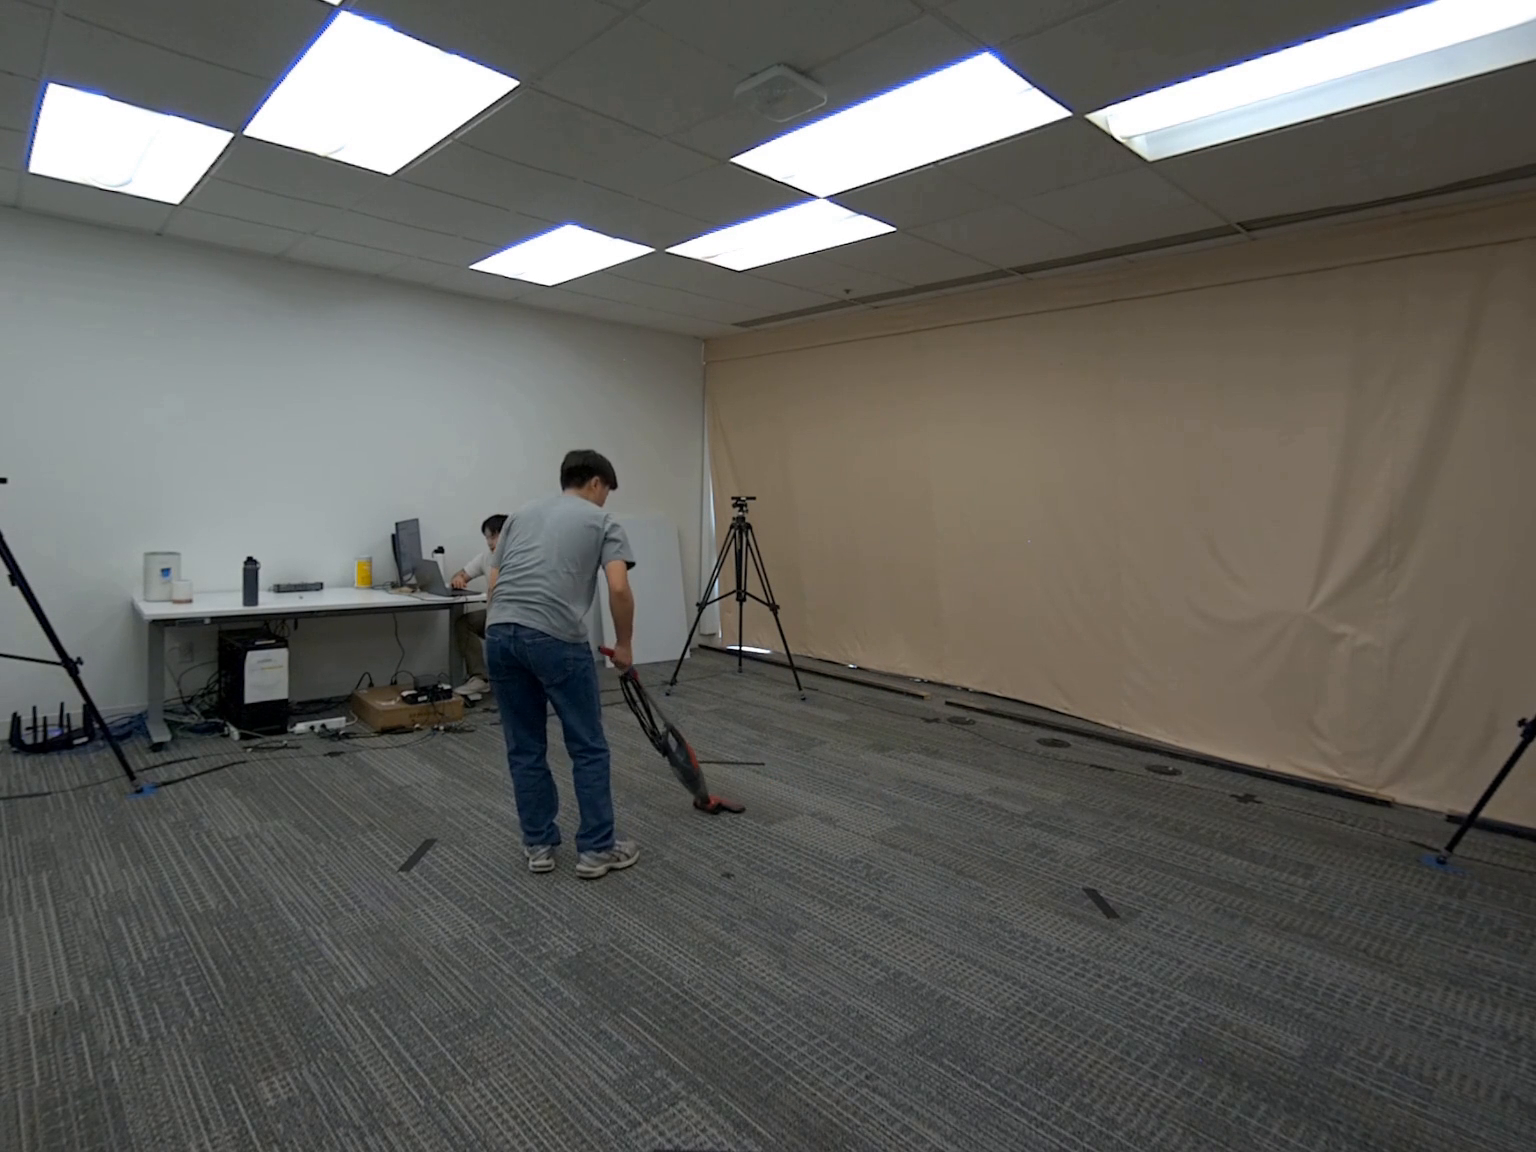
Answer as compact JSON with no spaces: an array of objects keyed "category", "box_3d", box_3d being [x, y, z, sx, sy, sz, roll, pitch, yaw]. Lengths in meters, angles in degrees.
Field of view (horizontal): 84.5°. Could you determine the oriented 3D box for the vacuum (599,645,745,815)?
[{"category":"vacuum","box_3d":[-0.443,0.668,3.522,0.258,1.020,0.145,1,44,35]}]
